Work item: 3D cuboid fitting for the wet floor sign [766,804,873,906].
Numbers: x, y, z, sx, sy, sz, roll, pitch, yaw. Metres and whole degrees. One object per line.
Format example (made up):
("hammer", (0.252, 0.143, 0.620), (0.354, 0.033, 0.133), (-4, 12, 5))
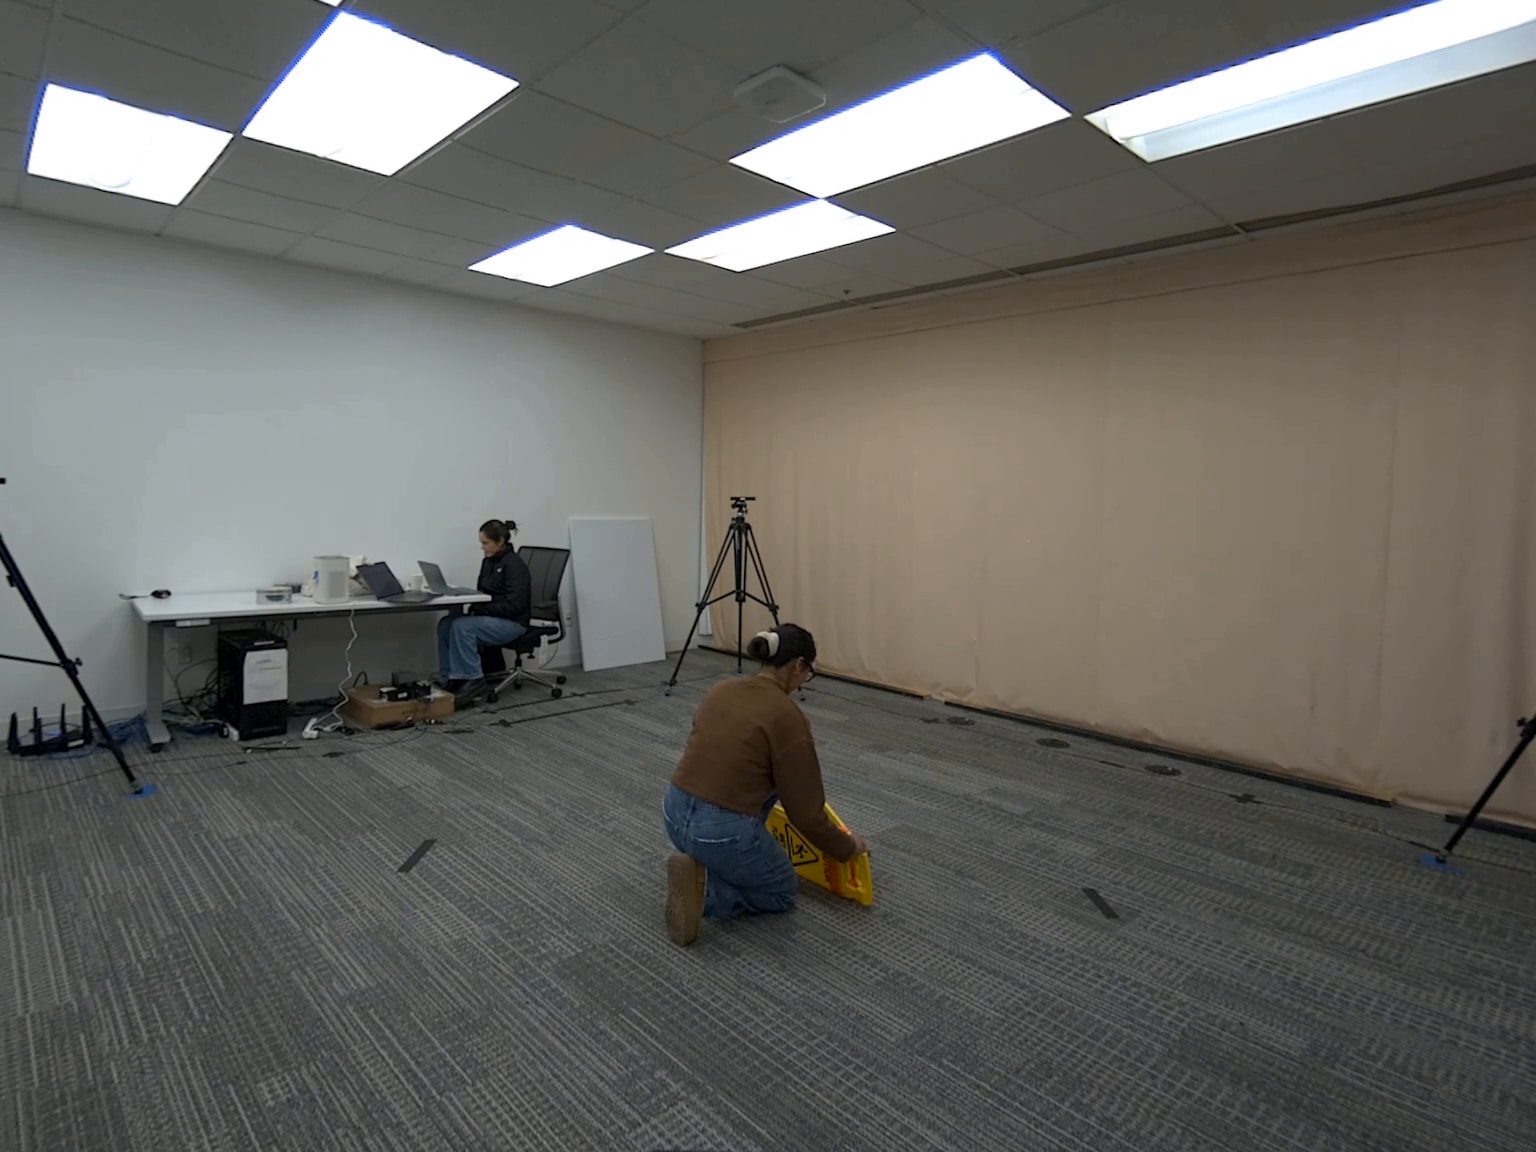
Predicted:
("wet floor sign", (0.164, 0.974, 3.118), (0.285, 0.279, 0.662), (-15, 16, -28))
